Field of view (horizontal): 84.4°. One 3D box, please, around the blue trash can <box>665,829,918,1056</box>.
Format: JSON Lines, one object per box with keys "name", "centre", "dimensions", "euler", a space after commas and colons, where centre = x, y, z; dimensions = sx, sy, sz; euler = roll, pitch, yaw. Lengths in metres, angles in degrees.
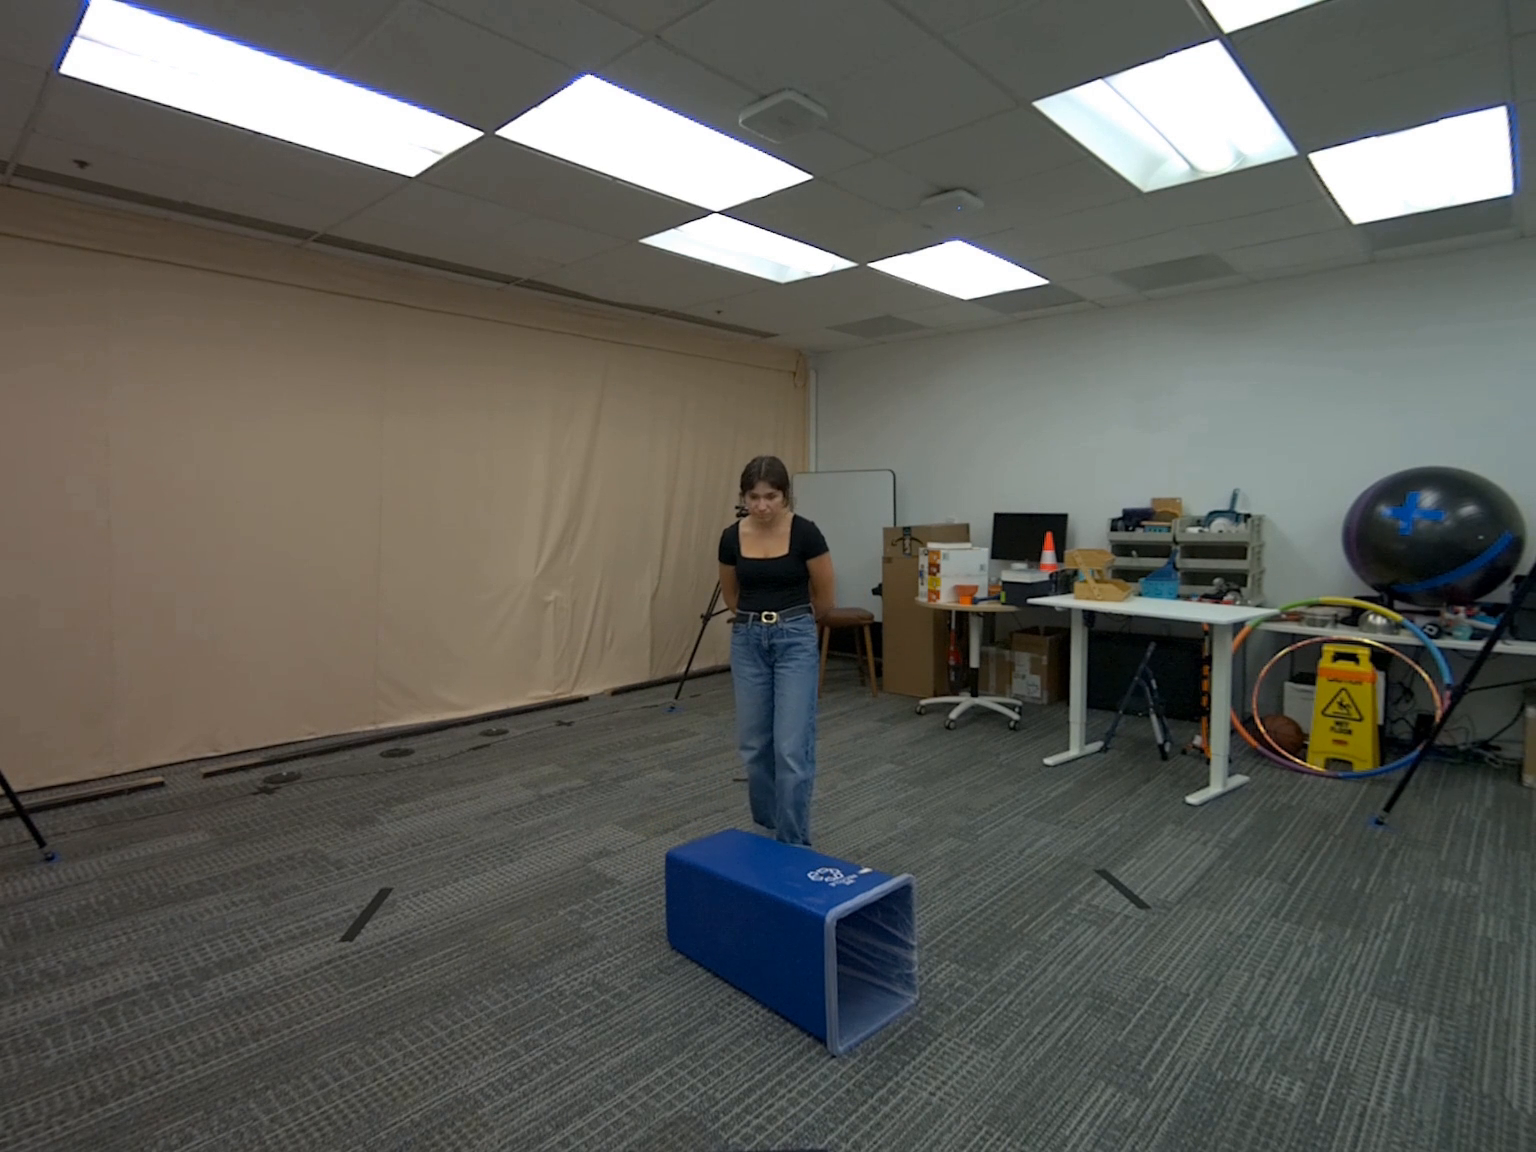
{"name": "blue trash can", "centre": [0.038, 1.019, 2.487], "dimensions": [0.362, 0.378, 0.736], "euler": [-4, 3, -45]}
